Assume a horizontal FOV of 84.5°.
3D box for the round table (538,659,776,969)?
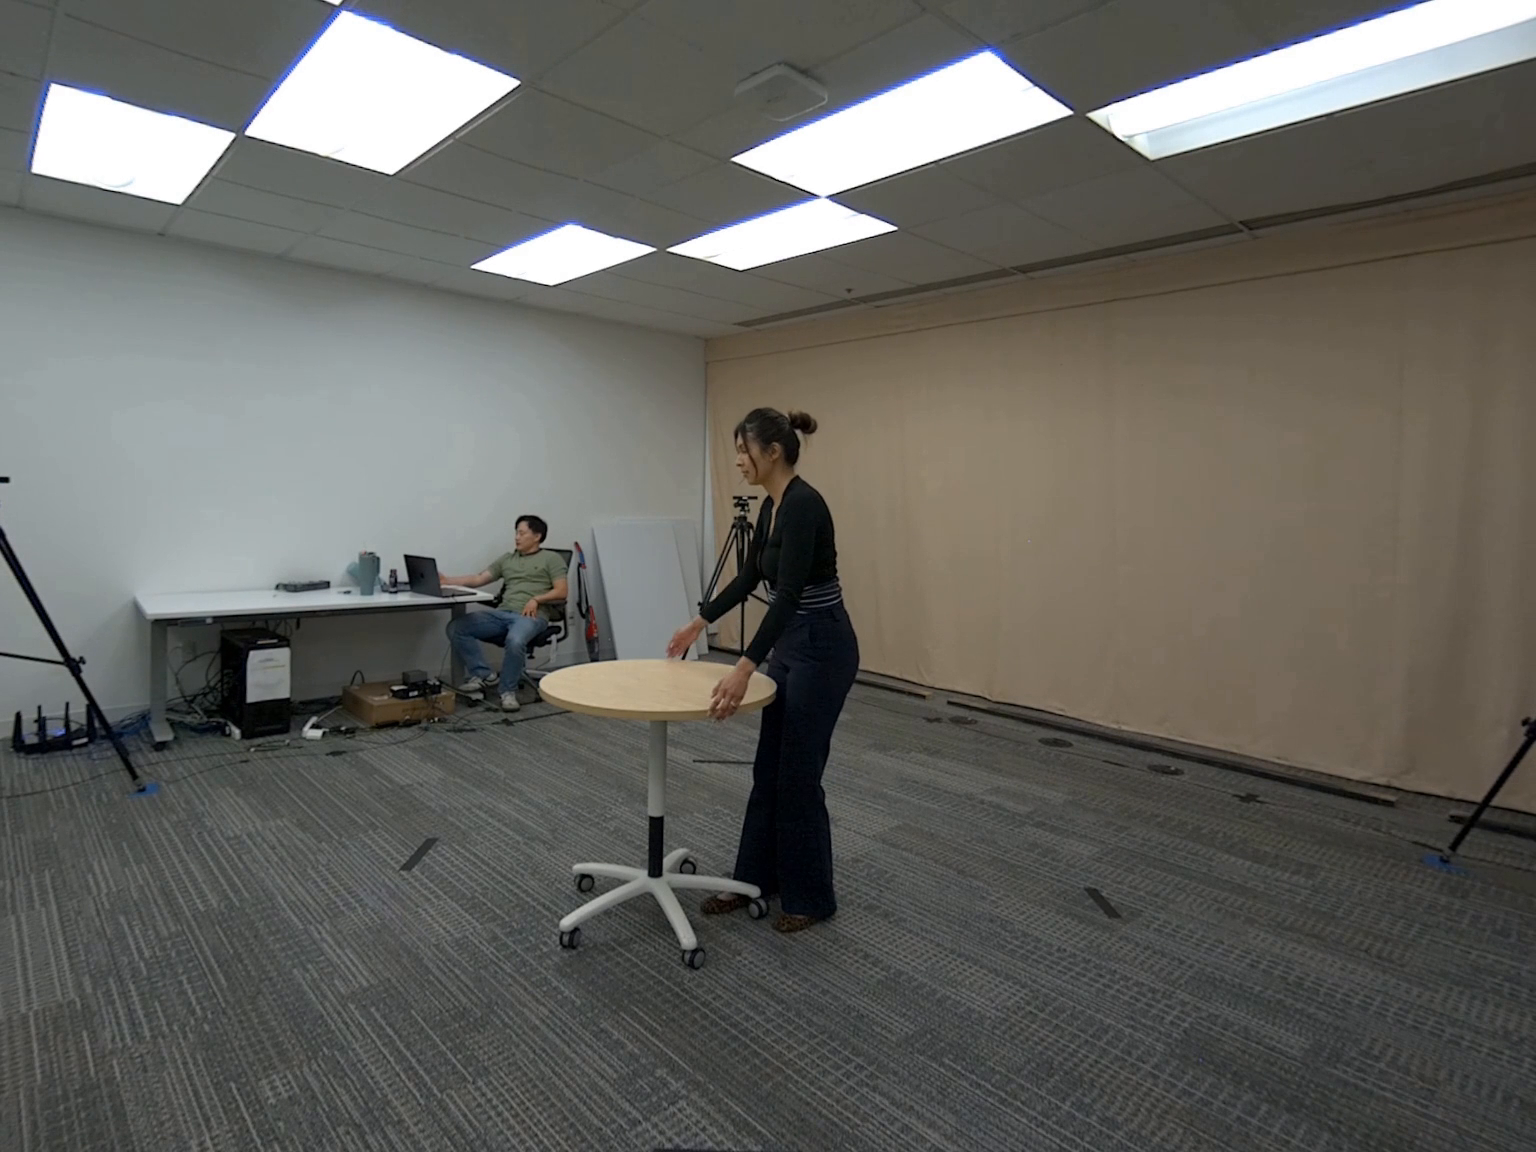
[{"bbox_3d":[-0.369,0.740,2.757,0.763,0.792,0.767,1,4,-1],"label":"round table"}]
